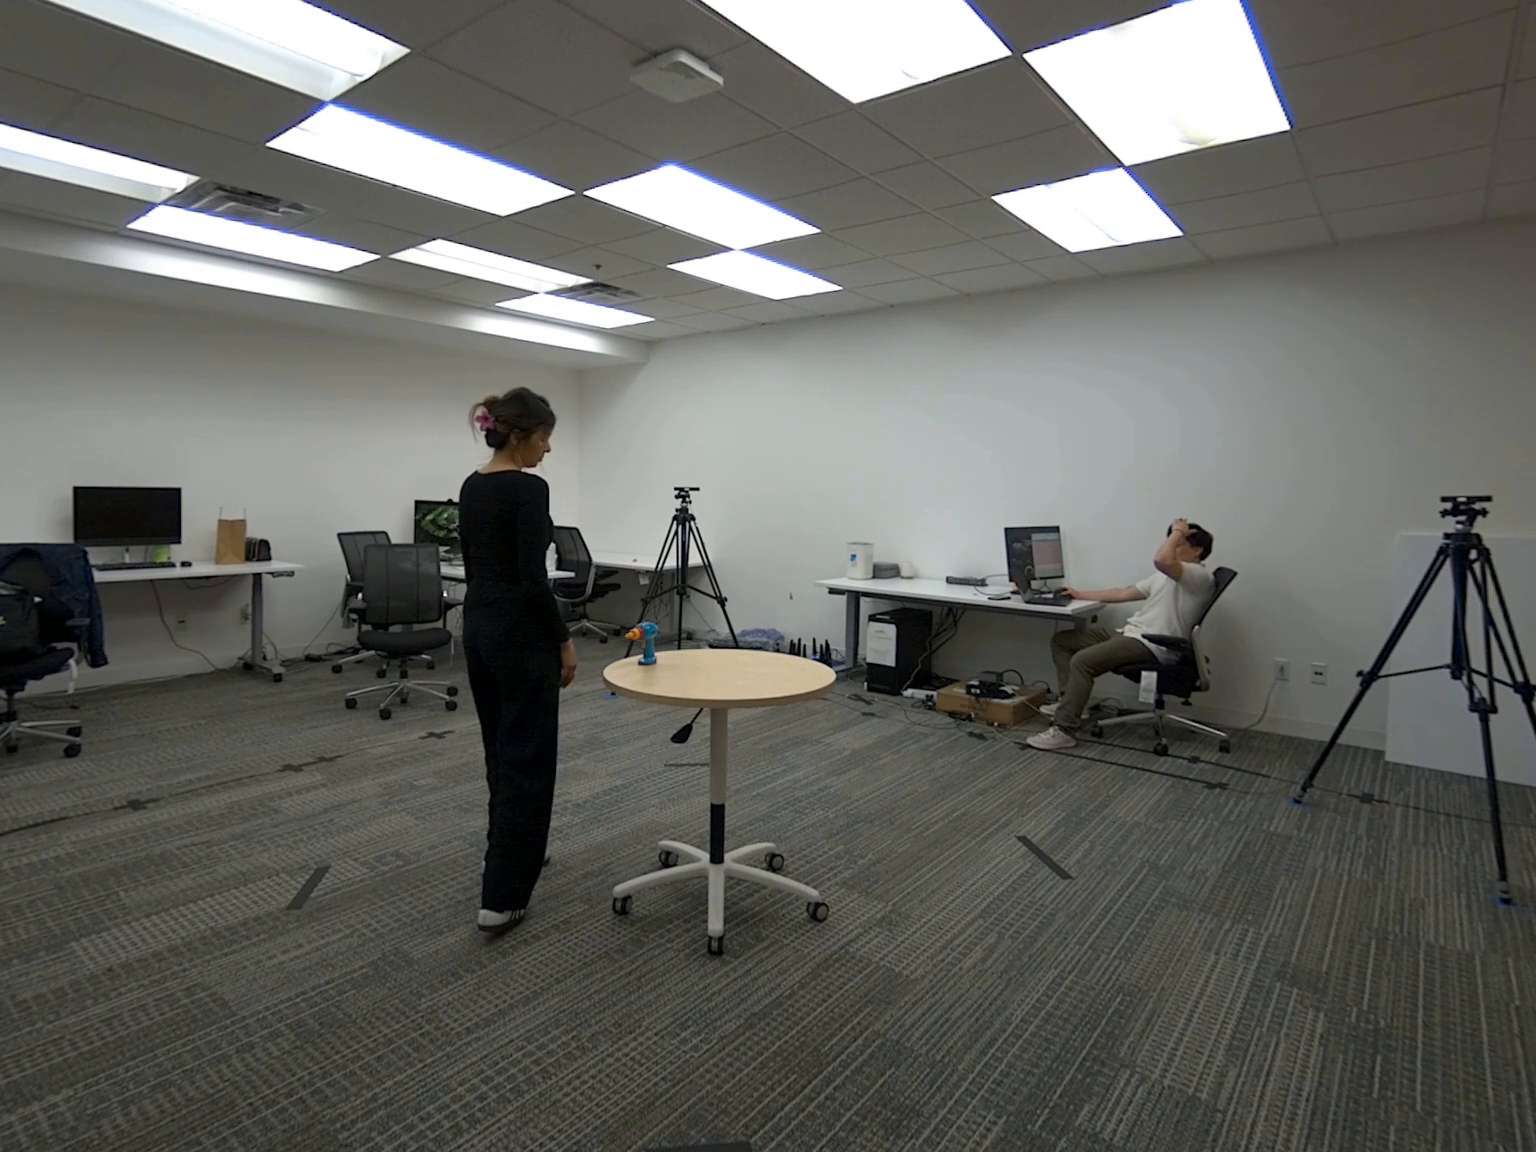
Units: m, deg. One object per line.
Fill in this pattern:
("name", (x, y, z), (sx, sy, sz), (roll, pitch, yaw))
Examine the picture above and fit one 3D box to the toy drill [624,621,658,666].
("toy drill", (-0.439, 0.234, 2.882), (0.063, 0.145, 0.166), (2, 6, 27))
